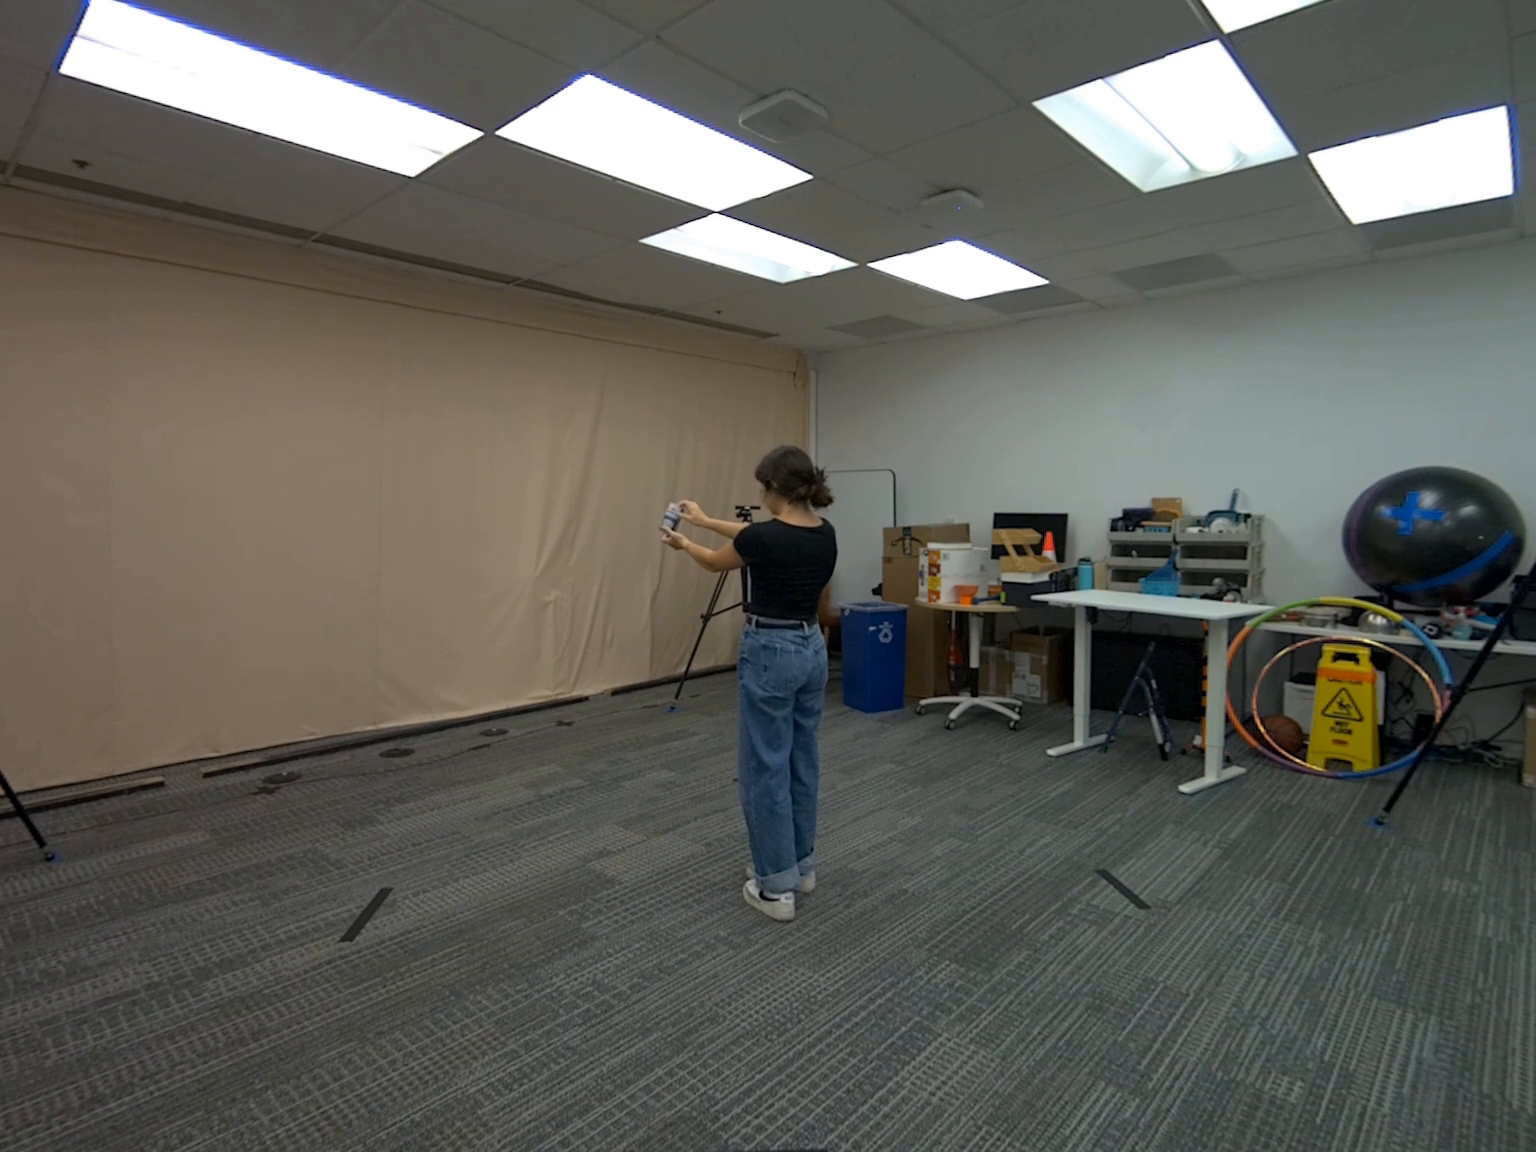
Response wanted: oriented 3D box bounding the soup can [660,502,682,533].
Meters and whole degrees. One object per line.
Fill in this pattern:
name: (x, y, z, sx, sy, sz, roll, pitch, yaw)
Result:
soup can: (-0.379, -0.224, 3.329, 0.067, 0.121, 0.067, 18, 1, -2)
